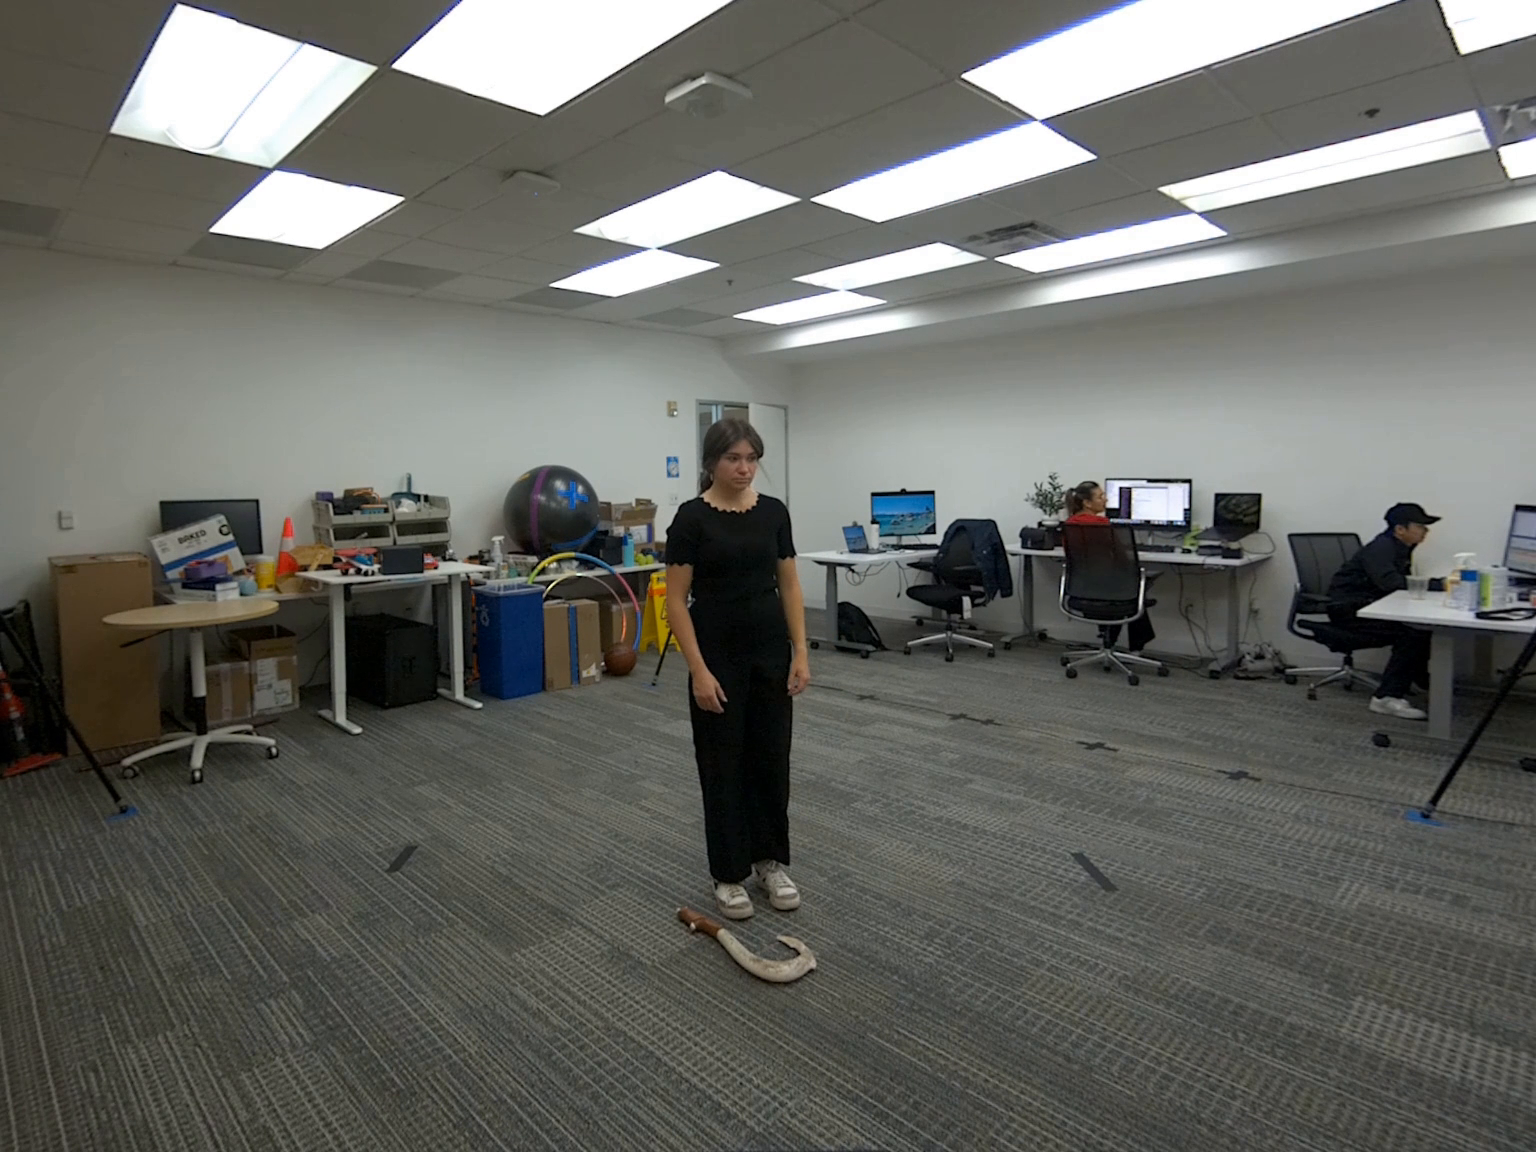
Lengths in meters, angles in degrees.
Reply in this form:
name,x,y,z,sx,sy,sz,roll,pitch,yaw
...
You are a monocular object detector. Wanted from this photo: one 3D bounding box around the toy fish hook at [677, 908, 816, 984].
name,x,y,z,sx,sy,sz,roll,pitch,yaw
toy fish hook,-0.069,1.097,2.576,0.218,0.048,0.522,4,1,-43
